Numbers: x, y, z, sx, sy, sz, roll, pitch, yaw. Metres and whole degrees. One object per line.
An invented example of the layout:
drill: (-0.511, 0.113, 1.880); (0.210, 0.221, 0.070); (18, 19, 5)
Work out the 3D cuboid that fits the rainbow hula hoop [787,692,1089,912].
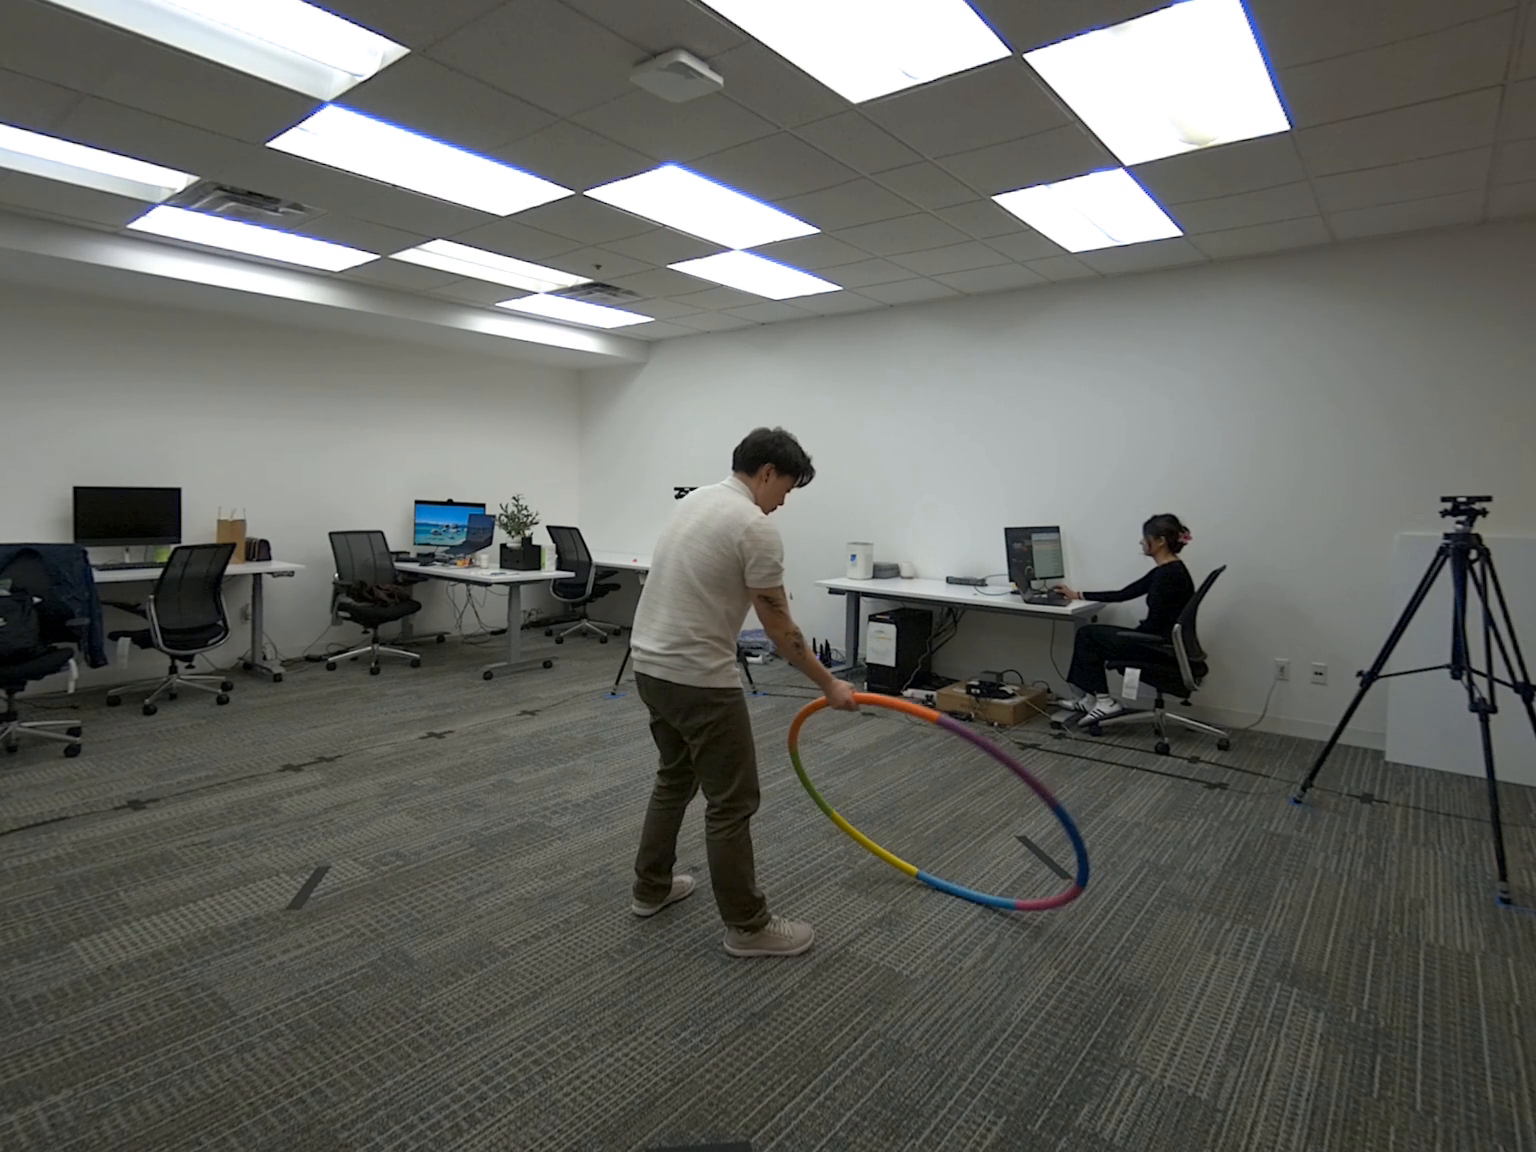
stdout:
rainbow hula hoop: (0.491, 0.720, 2.716); (1.011, 0.945, 0.035); (5, 42, 39)
